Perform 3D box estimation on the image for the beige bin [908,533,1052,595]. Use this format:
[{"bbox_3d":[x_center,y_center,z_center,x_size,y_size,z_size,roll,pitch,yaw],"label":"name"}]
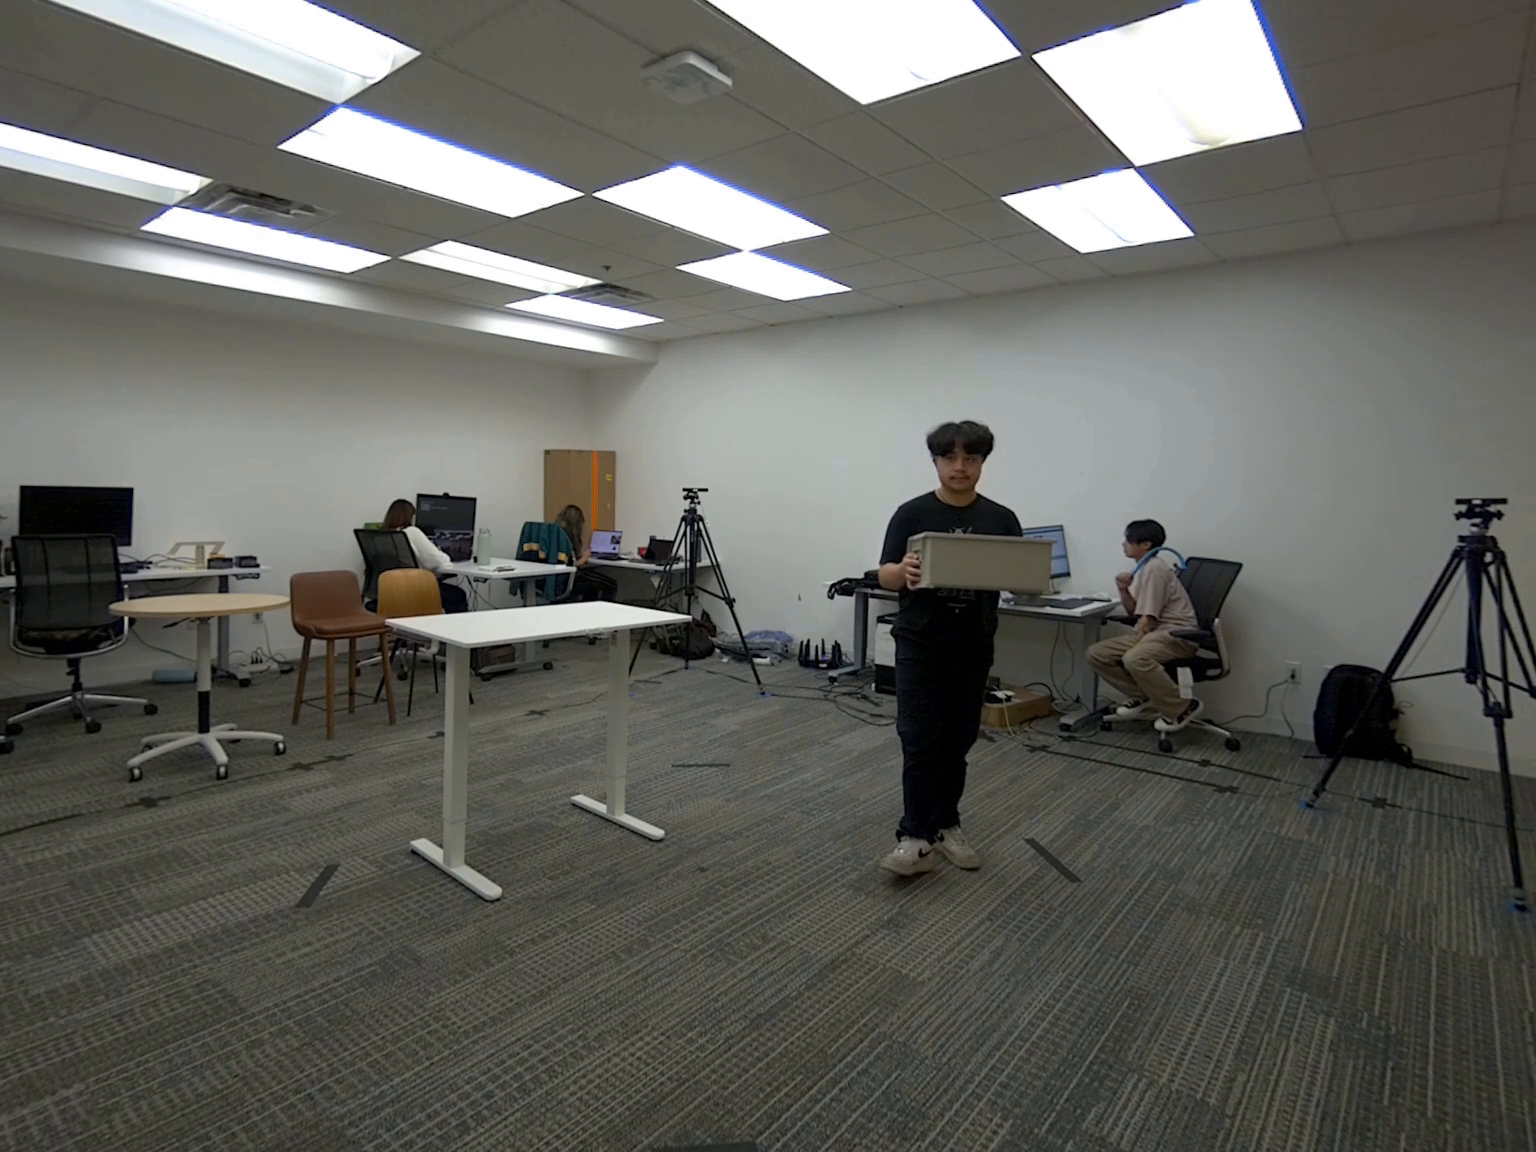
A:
[{"bbox_3d":[0.713,-0.044,2.916,0.424,0.189,0.376,3,1,2],"label":"beige bin"}]
